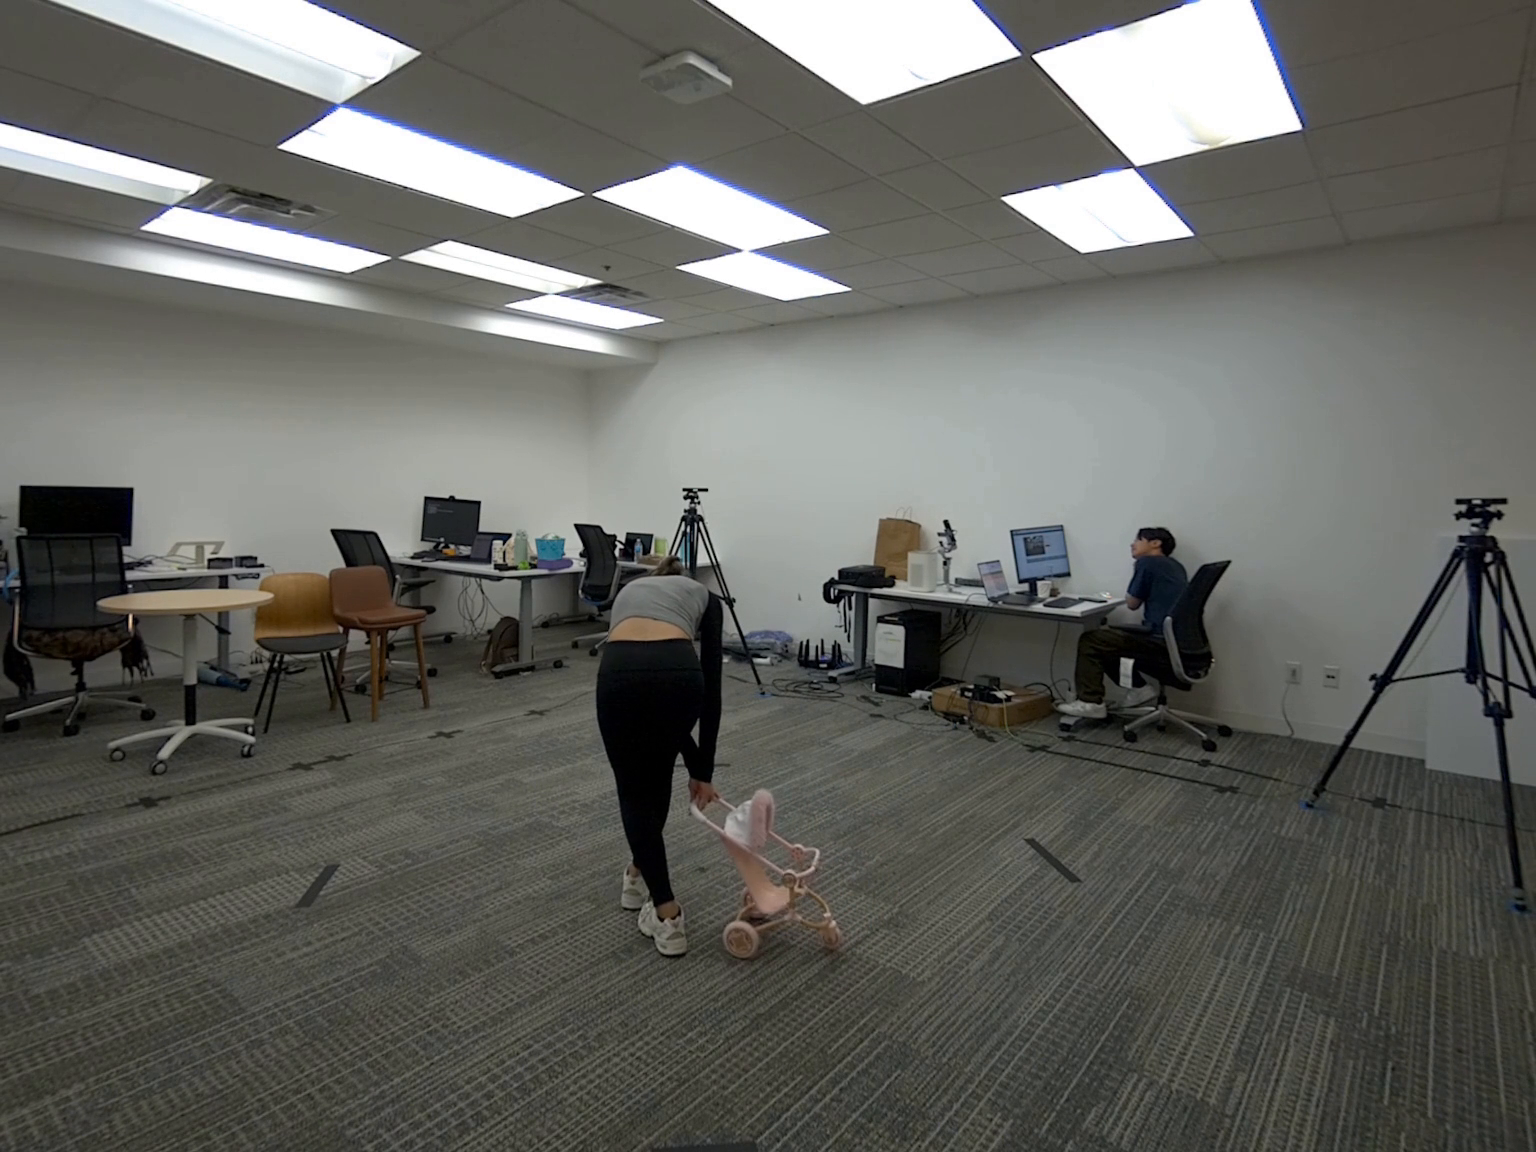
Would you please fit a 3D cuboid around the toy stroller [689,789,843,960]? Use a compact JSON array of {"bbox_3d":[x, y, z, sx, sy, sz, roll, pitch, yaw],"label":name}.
[{"bbox_3d":[-0.008,0.897,2.613,0.346,0.536,0.277,-16,-1,17],"label":"toy stroller"}]
